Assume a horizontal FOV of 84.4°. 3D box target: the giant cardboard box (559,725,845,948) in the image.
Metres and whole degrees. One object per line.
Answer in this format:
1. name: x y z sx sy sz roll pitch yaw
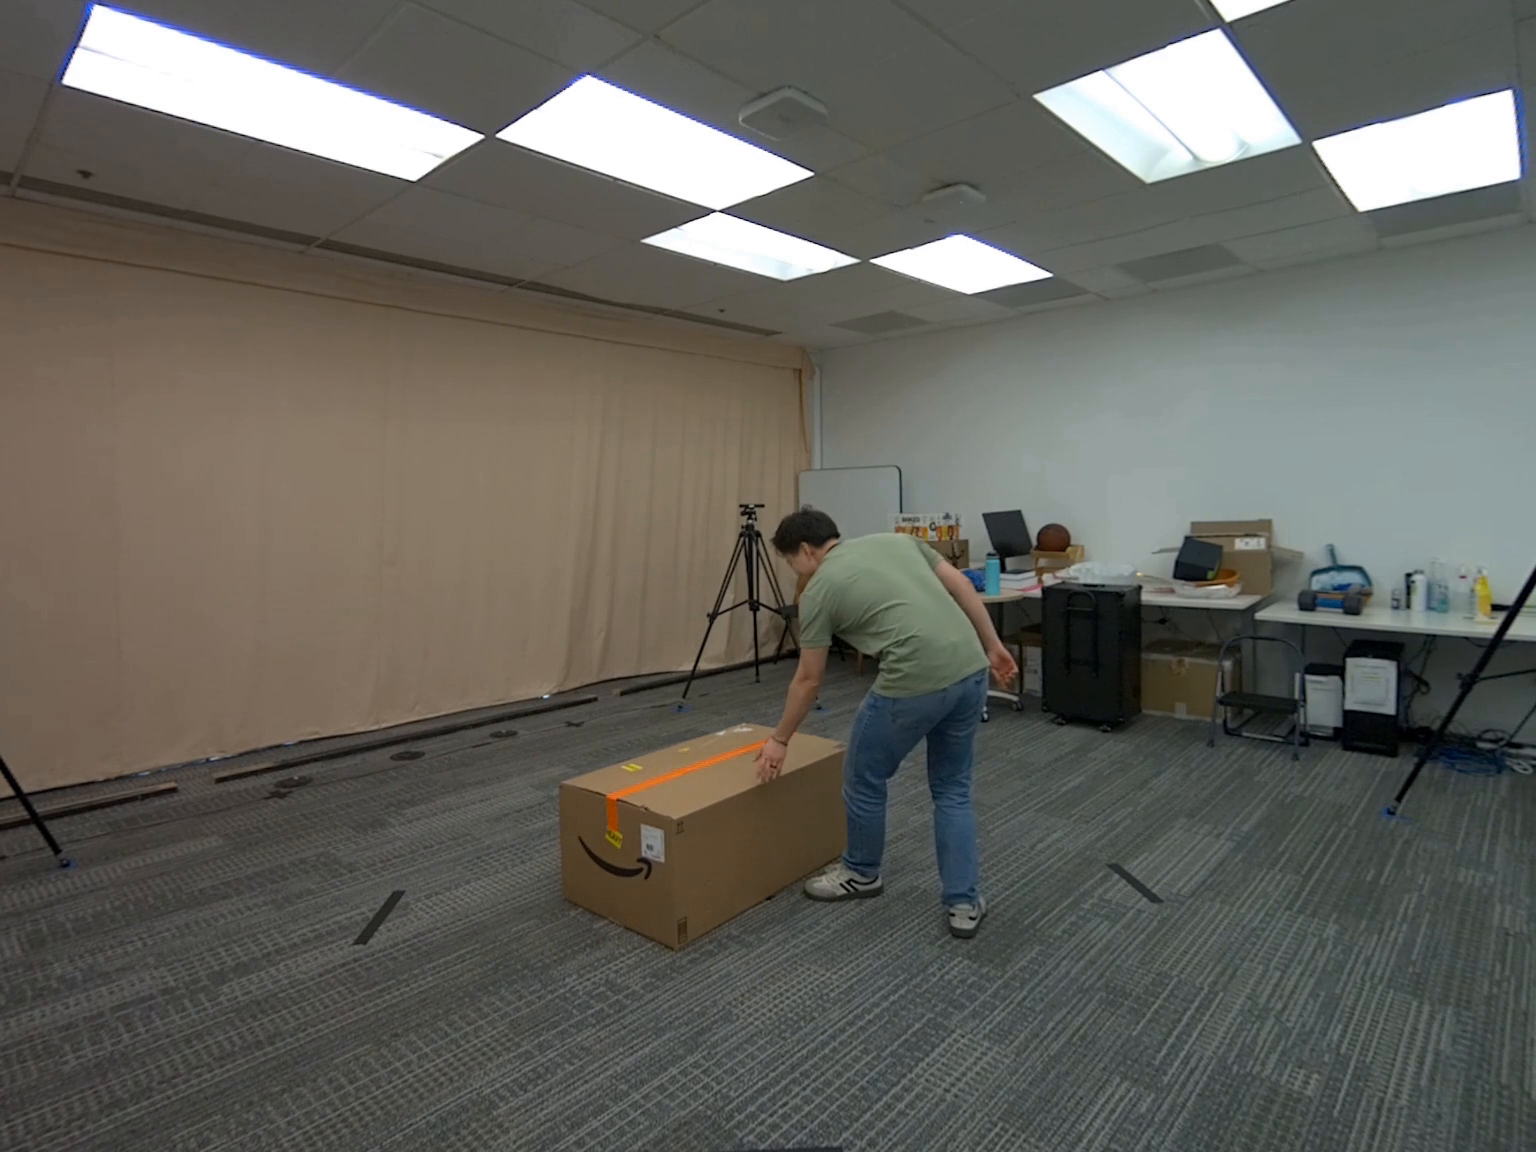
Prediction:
1. giant cardboard box: -0.194 0.912 3.185 0.596 0.425 0.995 2 5 40
